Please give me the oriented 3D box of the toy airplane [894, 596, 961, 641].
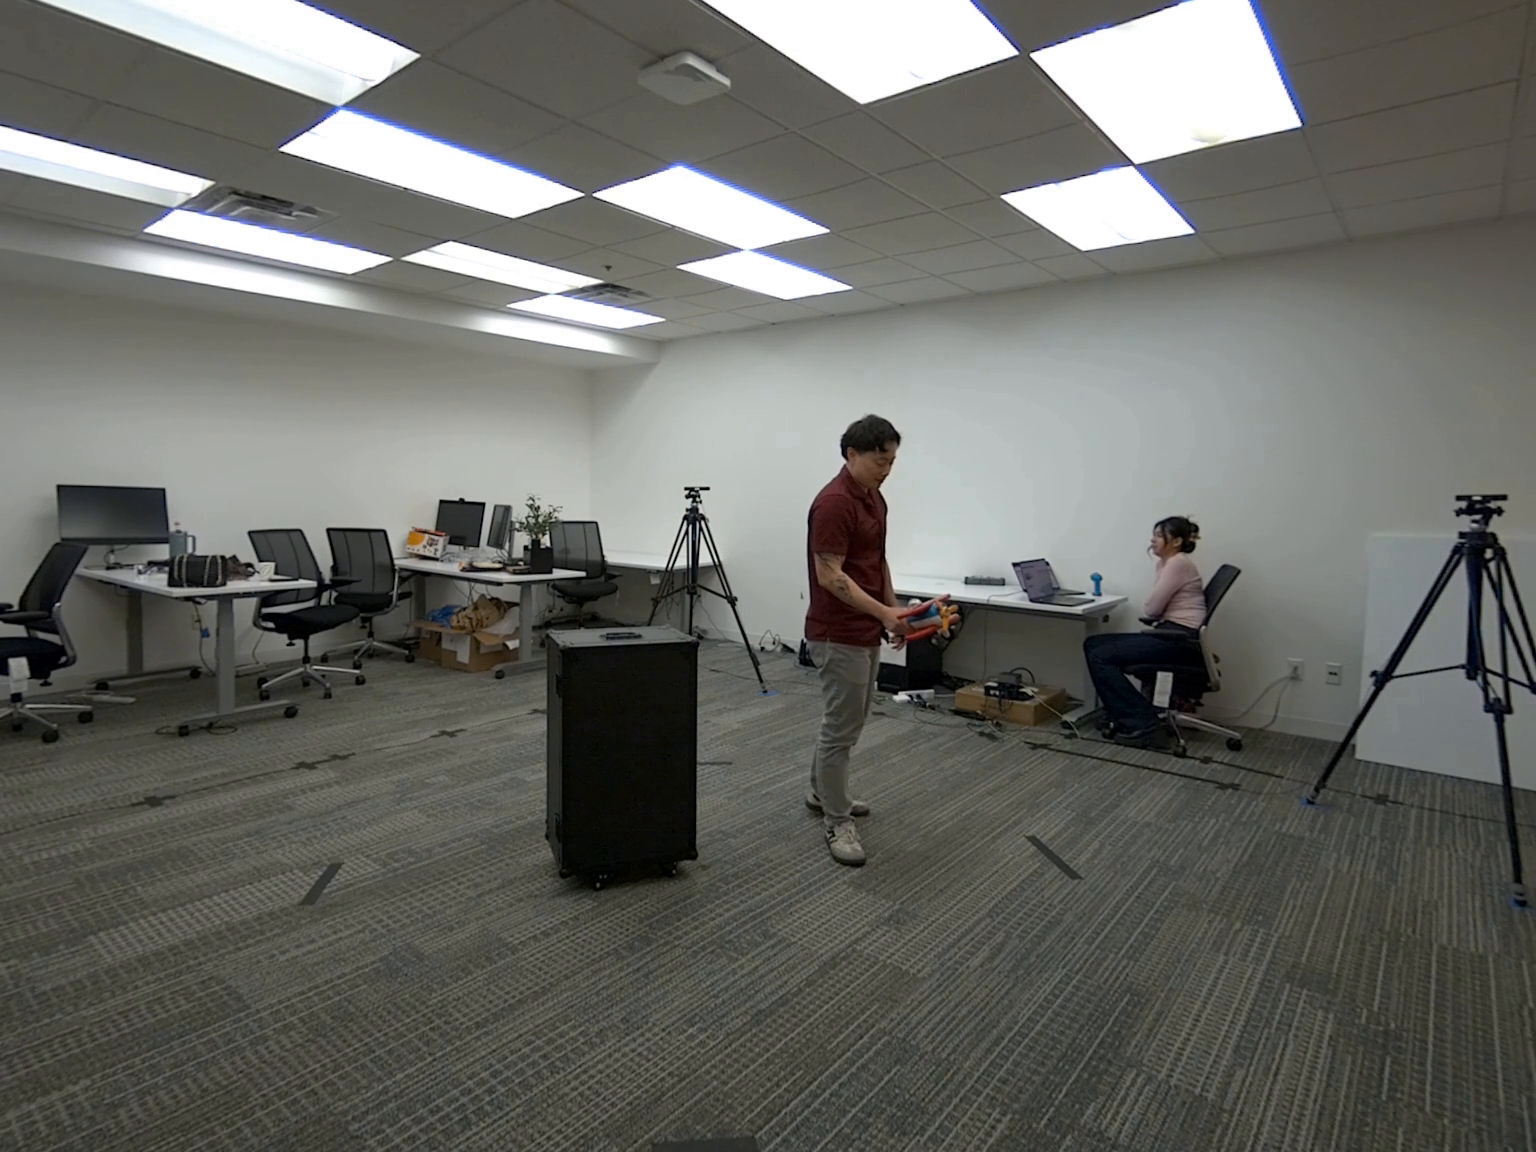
[{"bbox_3d":[0.530,0.166,3.009,0.265,0.155,0.248,-7,10,25],"label":"toy airplane"}]
